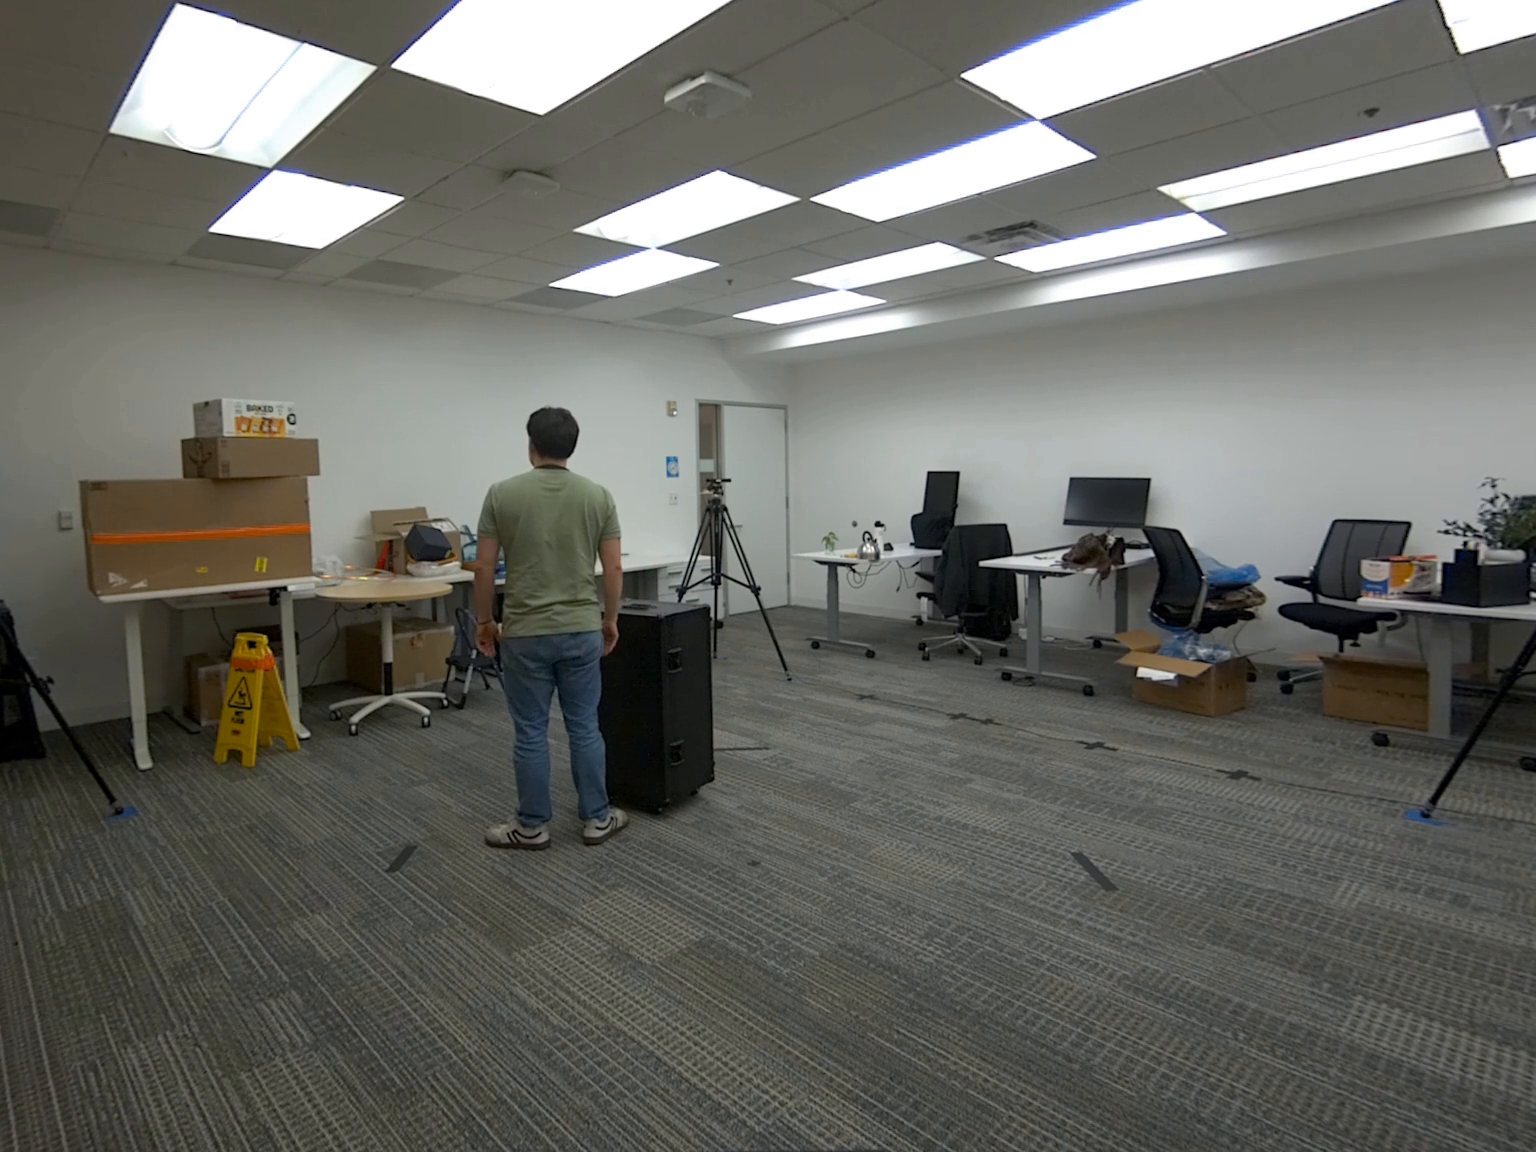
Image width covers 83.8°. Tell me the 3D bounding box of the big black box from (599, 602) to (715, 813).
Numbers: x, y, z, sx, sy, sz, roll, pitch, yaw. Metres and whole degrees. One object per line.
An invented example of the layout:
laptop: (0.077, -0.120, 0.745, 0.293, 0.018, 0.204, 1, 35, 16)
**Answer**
big black box: (-0.530, 0.556, 3.756, 0.536, 0.859, 0.386, 1, 3, 34)
